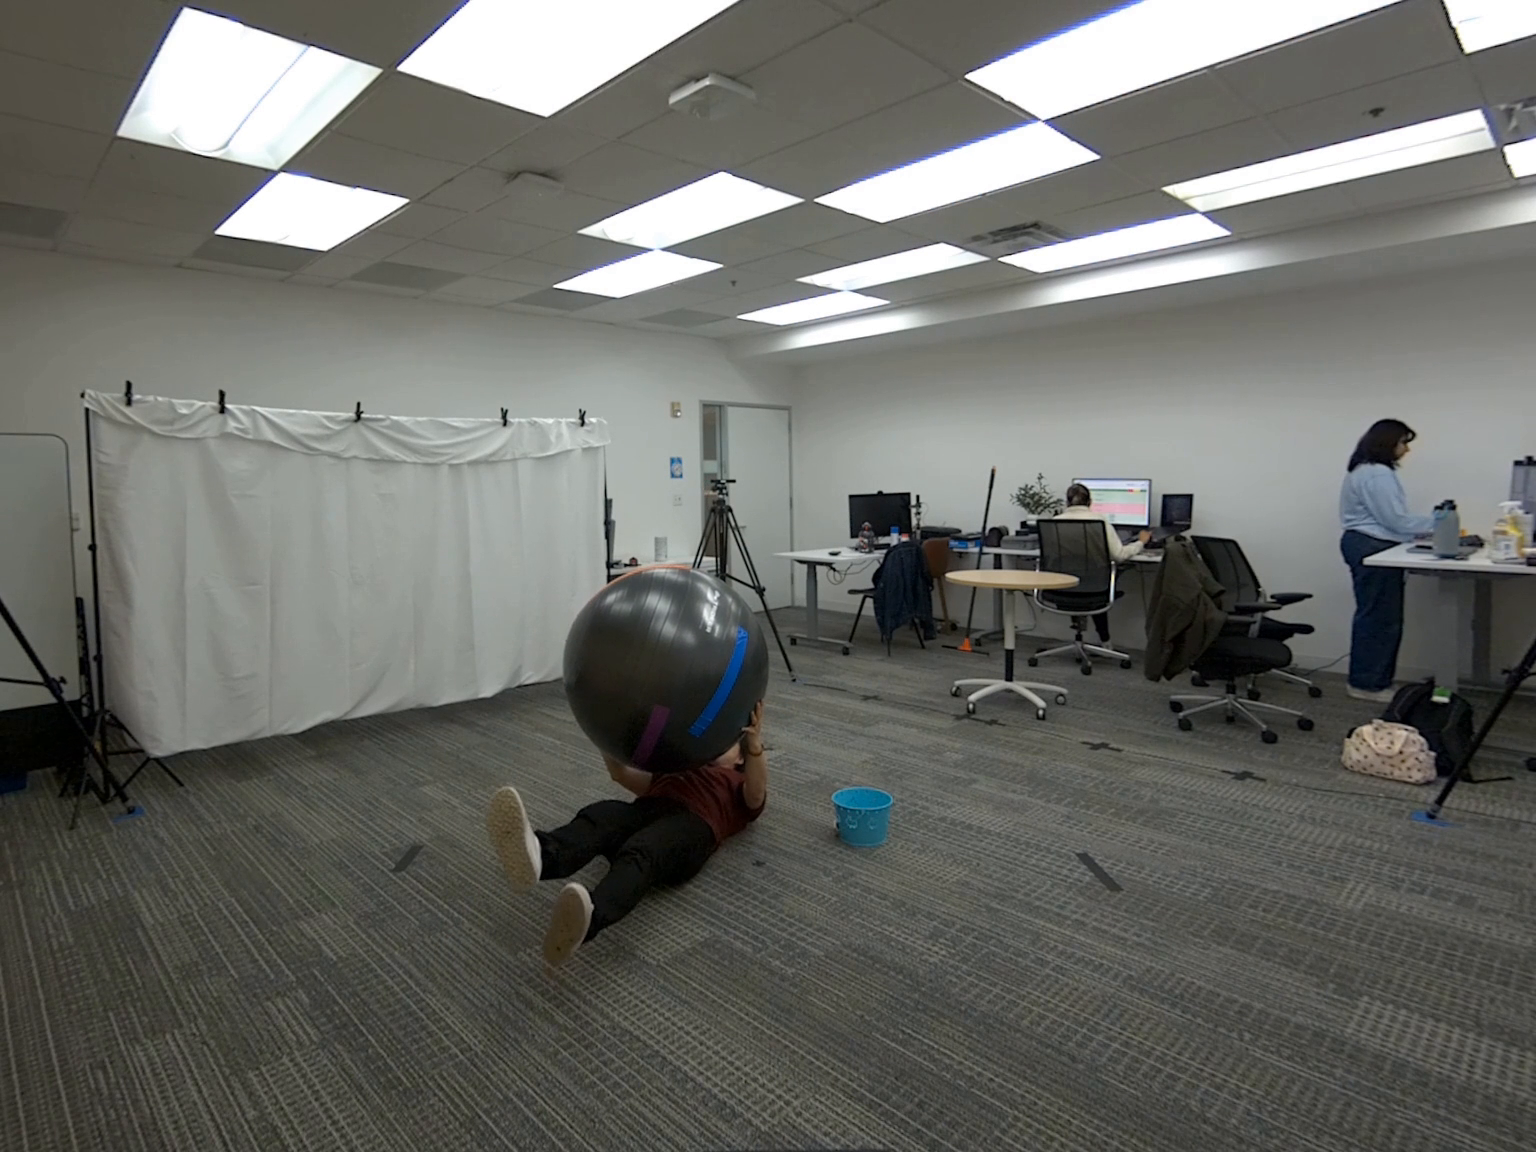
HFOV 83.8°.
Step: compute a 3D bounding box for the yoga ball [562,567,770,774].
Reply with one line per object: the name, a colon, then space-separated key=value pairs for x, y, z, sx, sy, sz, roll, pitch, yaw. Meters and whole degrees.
yoga ball: x=-0.380 y=0.342 z=3.174 sx=0.757 sy=0.755 sz=0.762 roll=-1 pitch=5 yaw=-2
